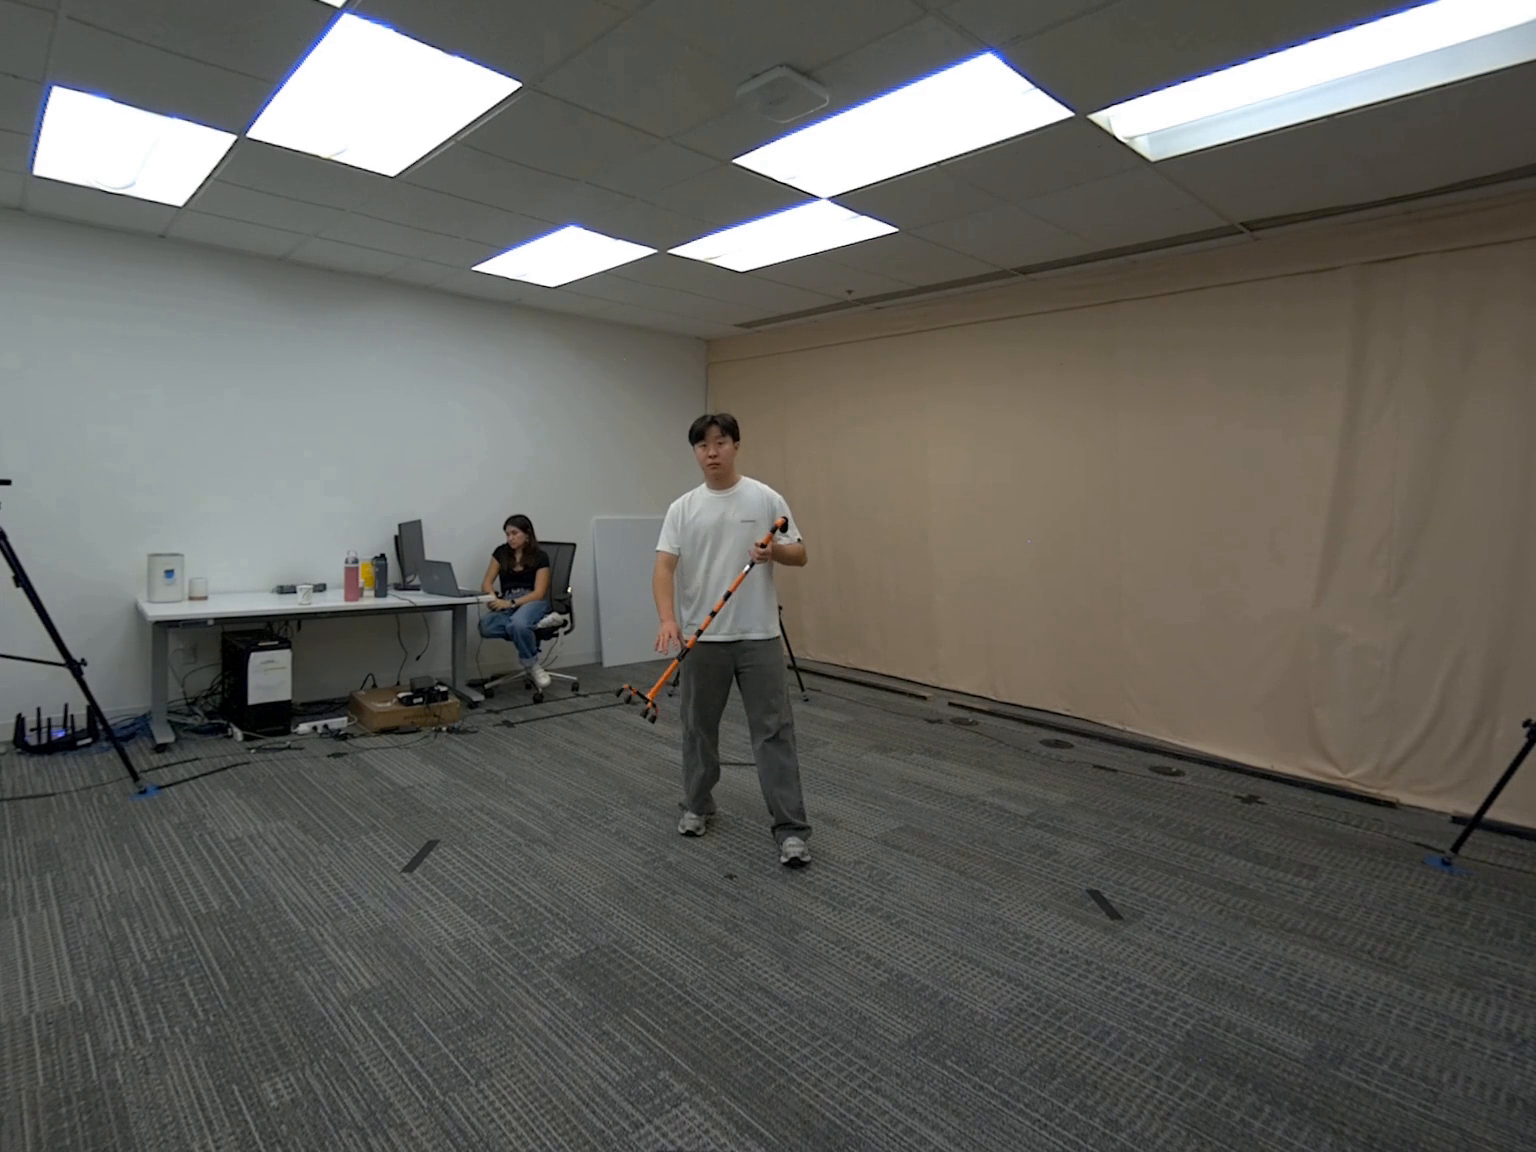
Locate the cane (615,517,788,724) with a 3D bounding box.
[{"bbox_3d":[-0.208,0.147,3.110,0.154,0.909,0.202,34,-10,16],"label":"cane"}]
